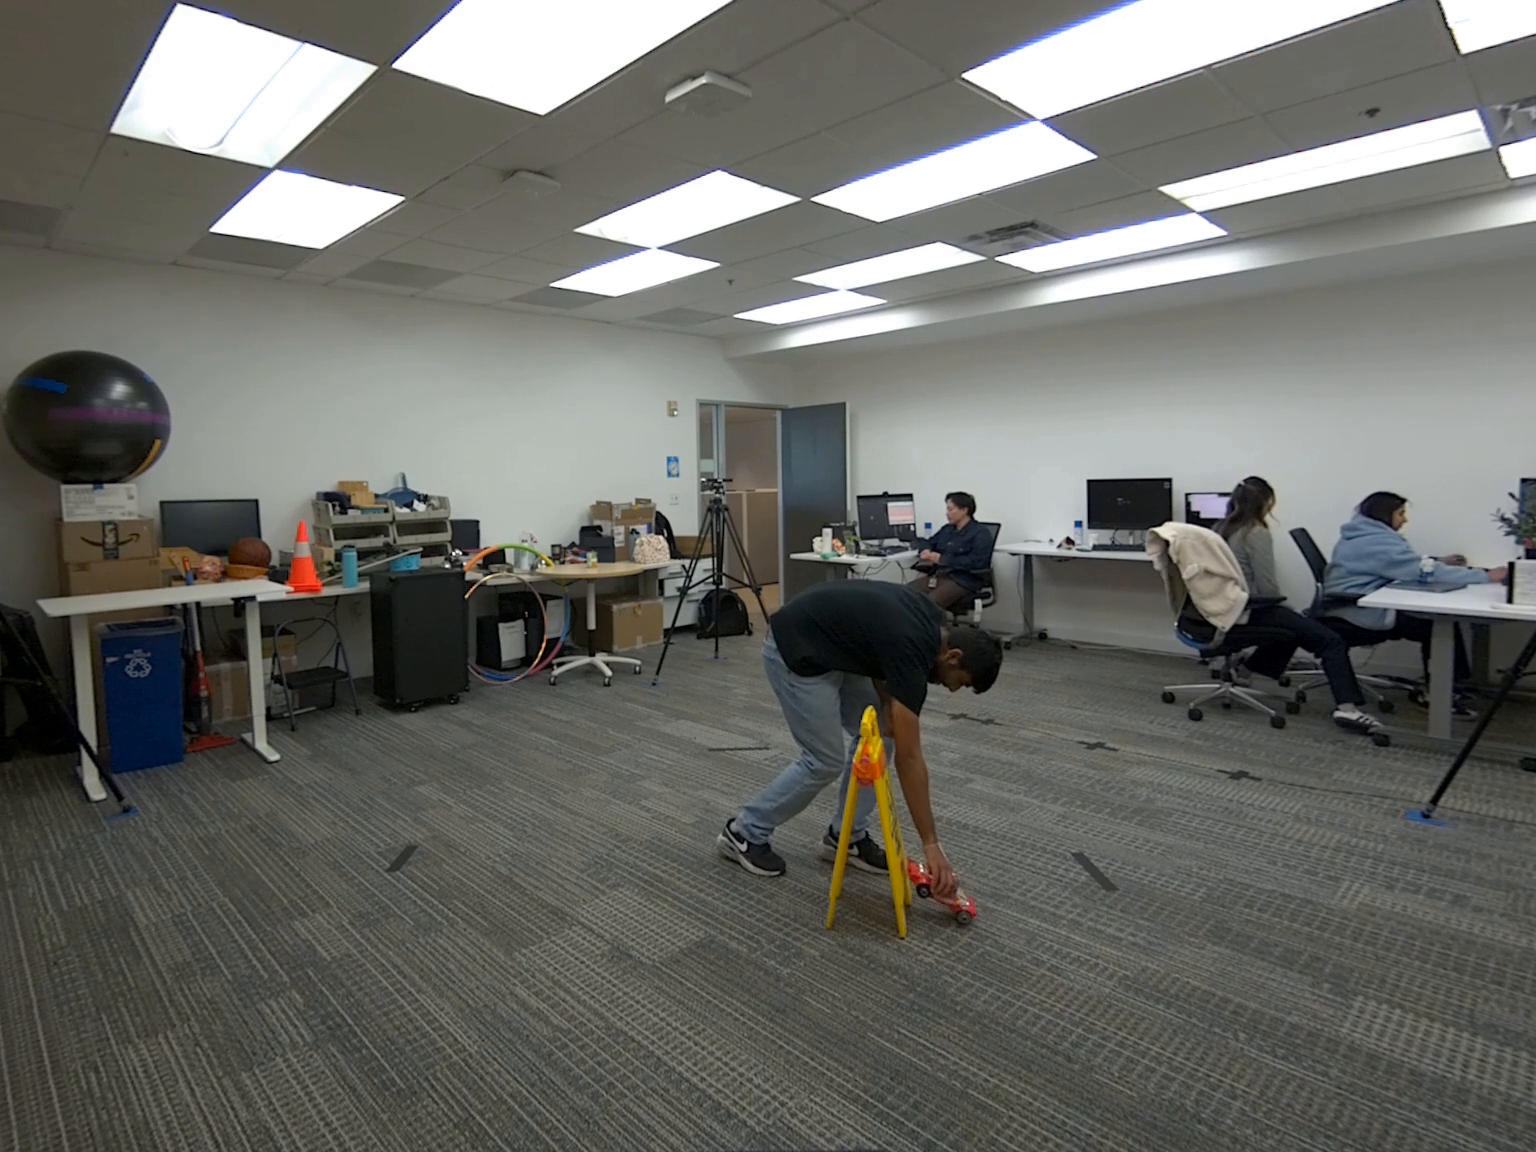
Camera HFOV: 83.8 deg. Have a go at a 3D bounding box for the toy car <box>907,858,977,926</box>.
[{"bbox_3d":[0.541,0.993,2.691,0.254,0.083,0.130,39,9,-1],"label":"toy car"}]
